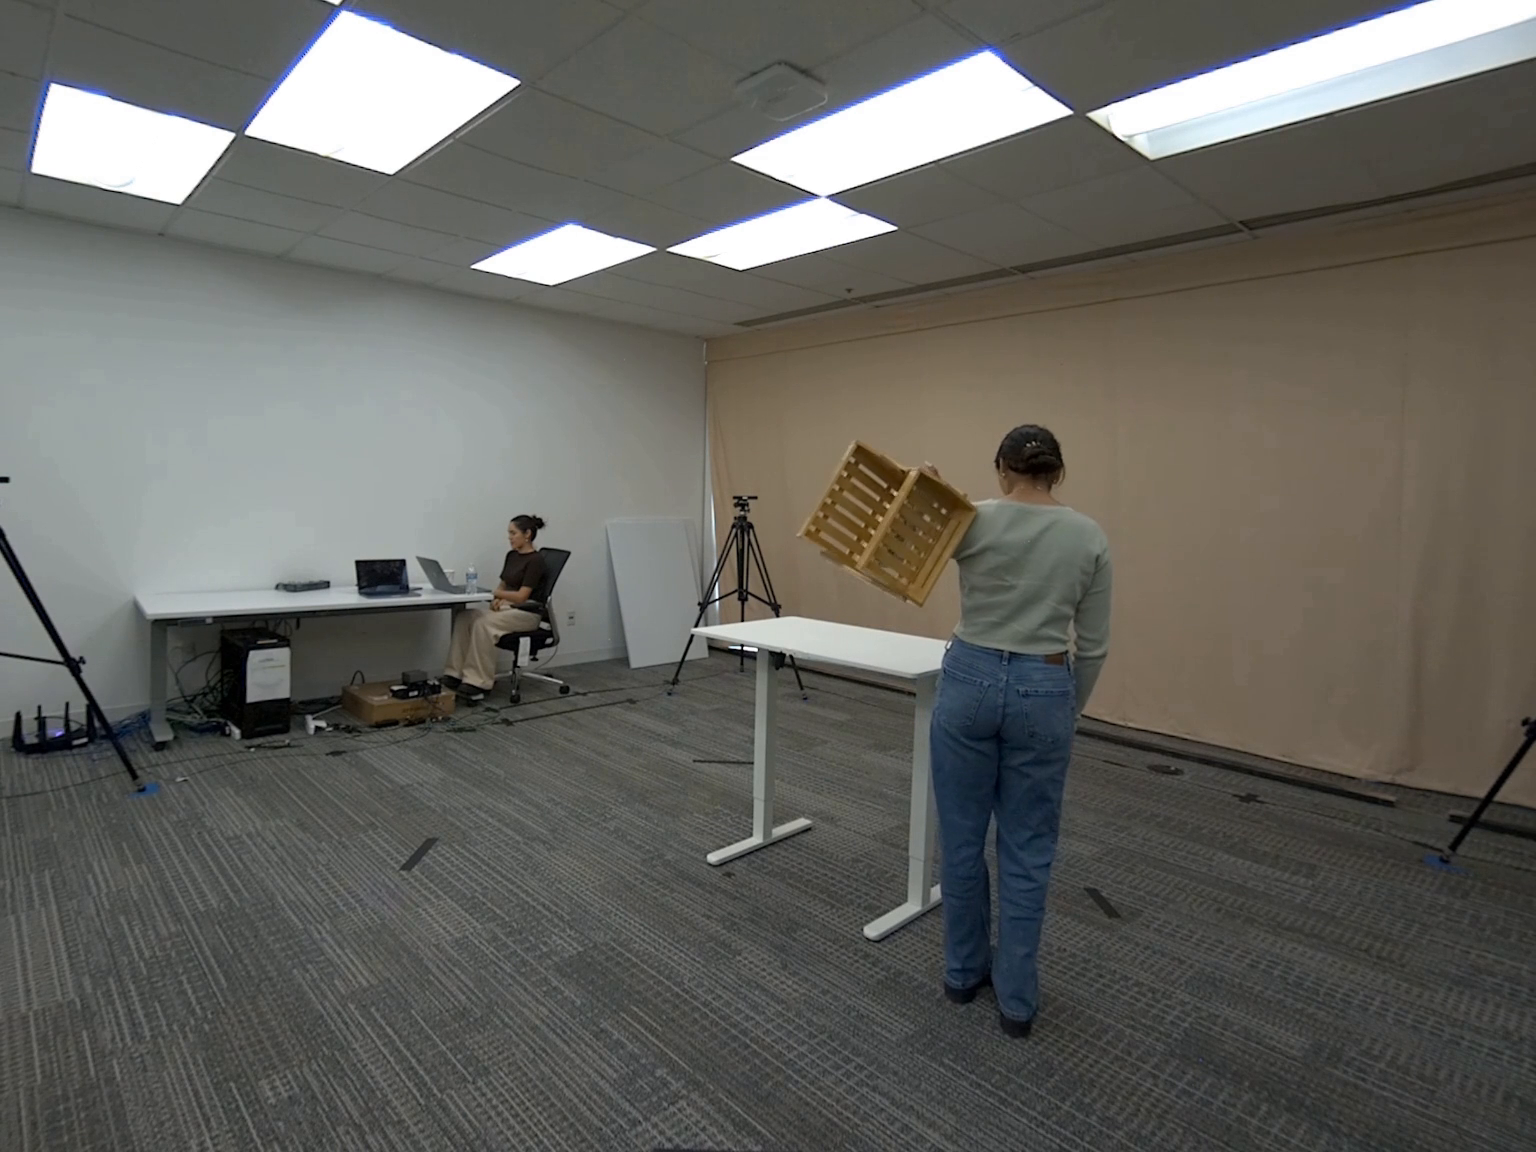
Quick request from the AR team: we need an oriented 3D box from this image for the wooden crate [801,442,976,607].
[{"bbox_3d":[0.303,-0.142,2.228,0.294,0.324,0.280,31,0,-29],"label":"wooden crate"}]
